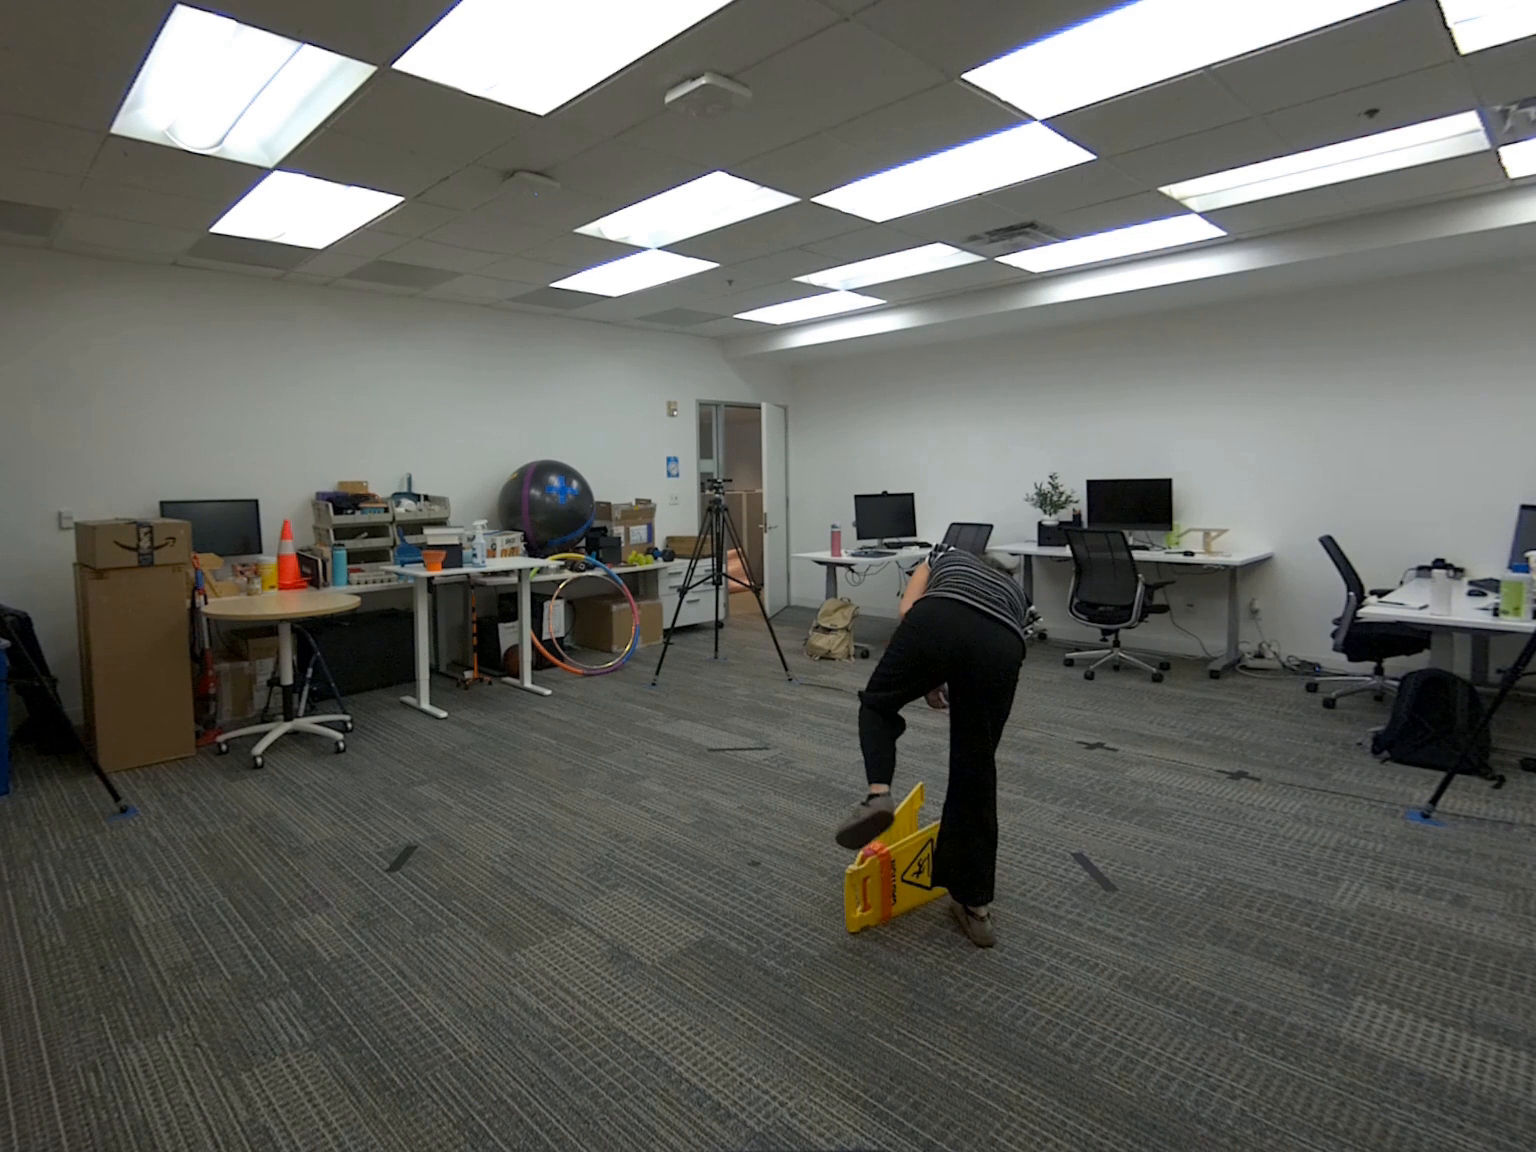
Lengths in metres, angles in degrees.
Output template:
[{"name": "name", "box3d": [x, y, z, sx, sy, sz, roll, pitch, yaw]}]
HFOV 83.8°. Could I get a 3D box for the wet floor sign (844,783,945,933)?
[{"name": "wet floor sign", "box3d": [0.460, 0.944, 2.819, 0.299, 0.280, 0.631, 4, 11, 42]}]
